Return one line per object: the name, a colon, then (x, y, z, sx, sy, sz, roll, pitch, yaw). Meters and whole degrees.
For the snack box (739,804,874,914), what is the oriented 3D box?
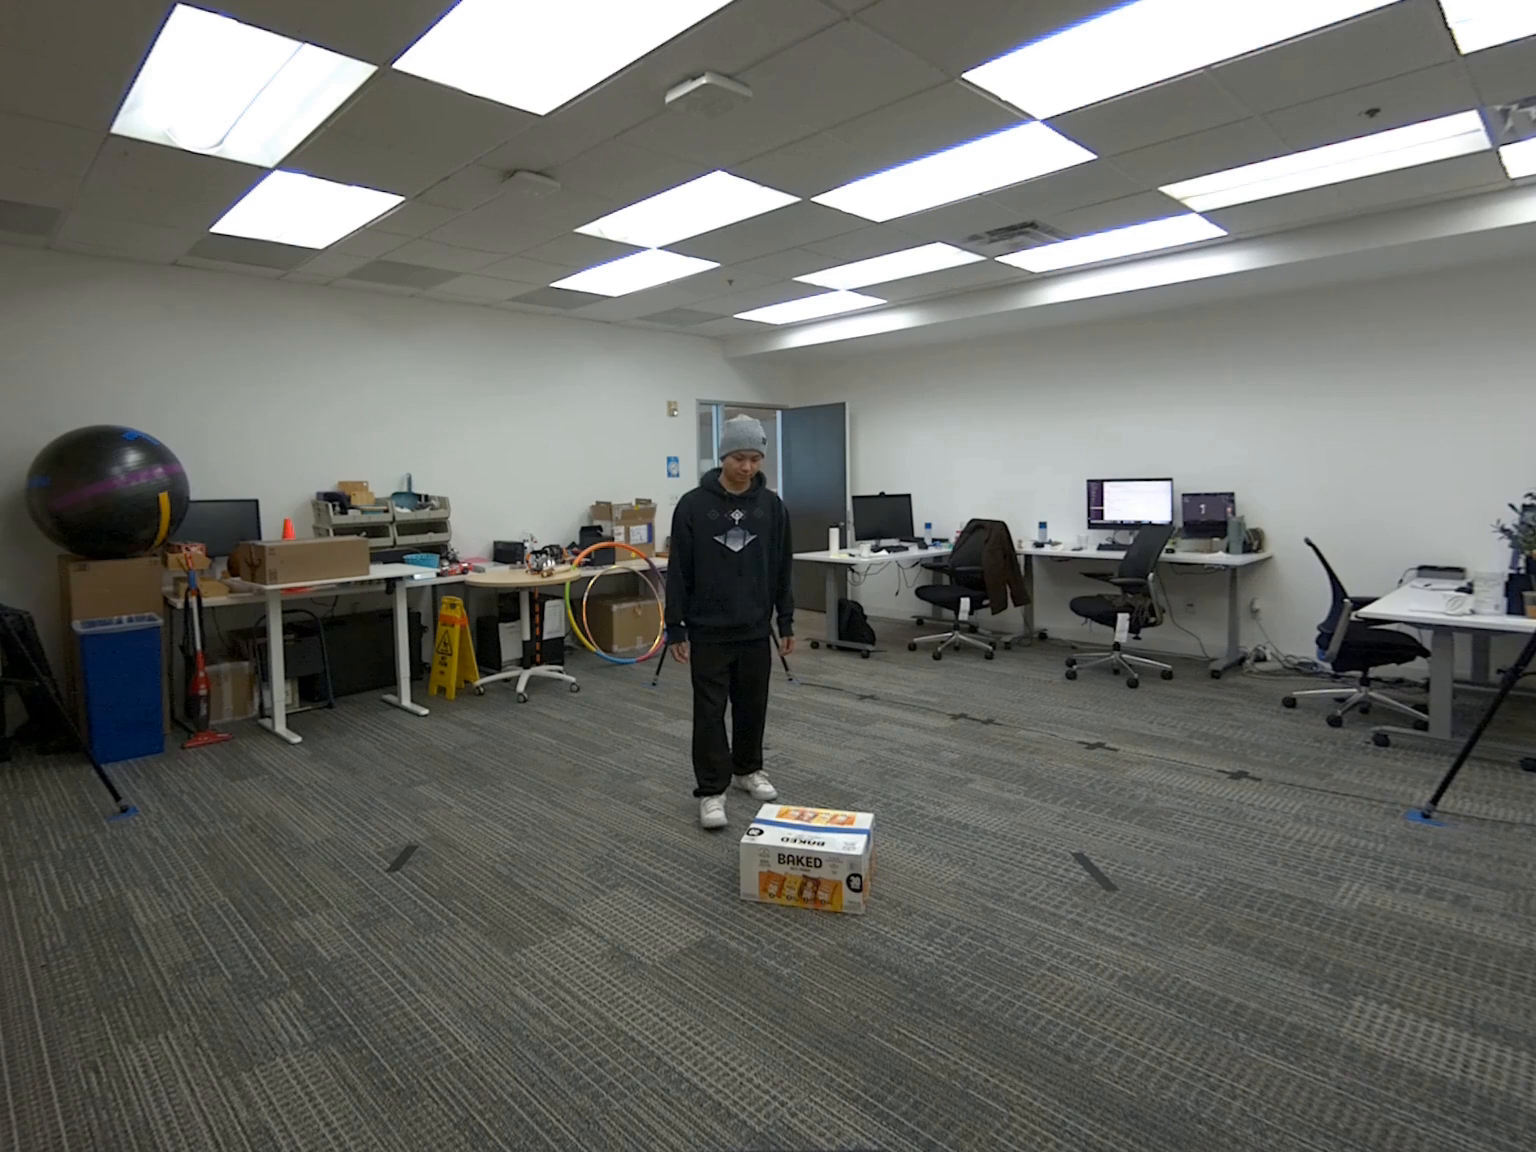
snack box: (0.148, 0.960, 2.929, 0.411, 0.205, 0.337, 1, 6, 15)
